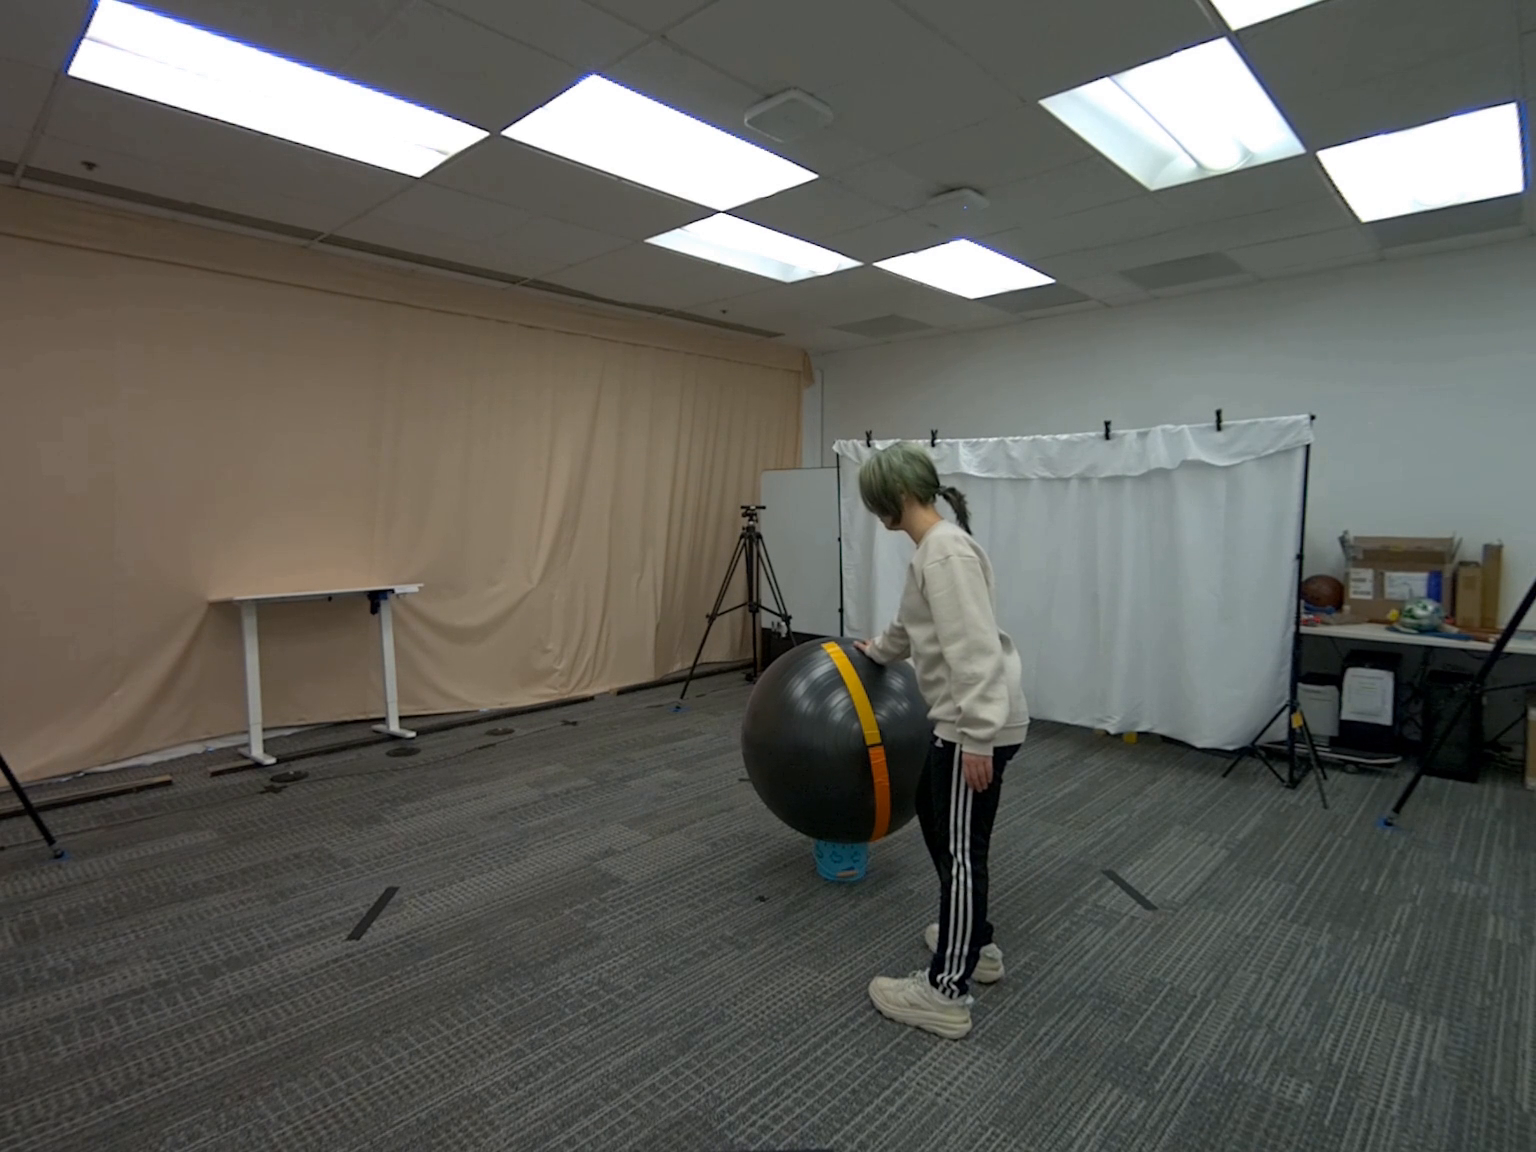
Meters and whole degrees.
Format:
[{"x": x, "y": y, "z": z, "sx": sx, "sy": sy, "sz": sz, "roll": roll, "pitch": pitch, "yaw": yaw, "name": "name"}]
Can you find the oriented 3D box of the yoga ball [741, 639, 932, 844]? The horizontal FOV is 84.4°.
[{"x": 0.279, "y": 0.616, "z": 3.180, "sx": 0.757, "sy": 0.756, "sz": 0.760, "roll": 0, "pitch": 4, "yaw": -2, "name": "yoga ball"}]
